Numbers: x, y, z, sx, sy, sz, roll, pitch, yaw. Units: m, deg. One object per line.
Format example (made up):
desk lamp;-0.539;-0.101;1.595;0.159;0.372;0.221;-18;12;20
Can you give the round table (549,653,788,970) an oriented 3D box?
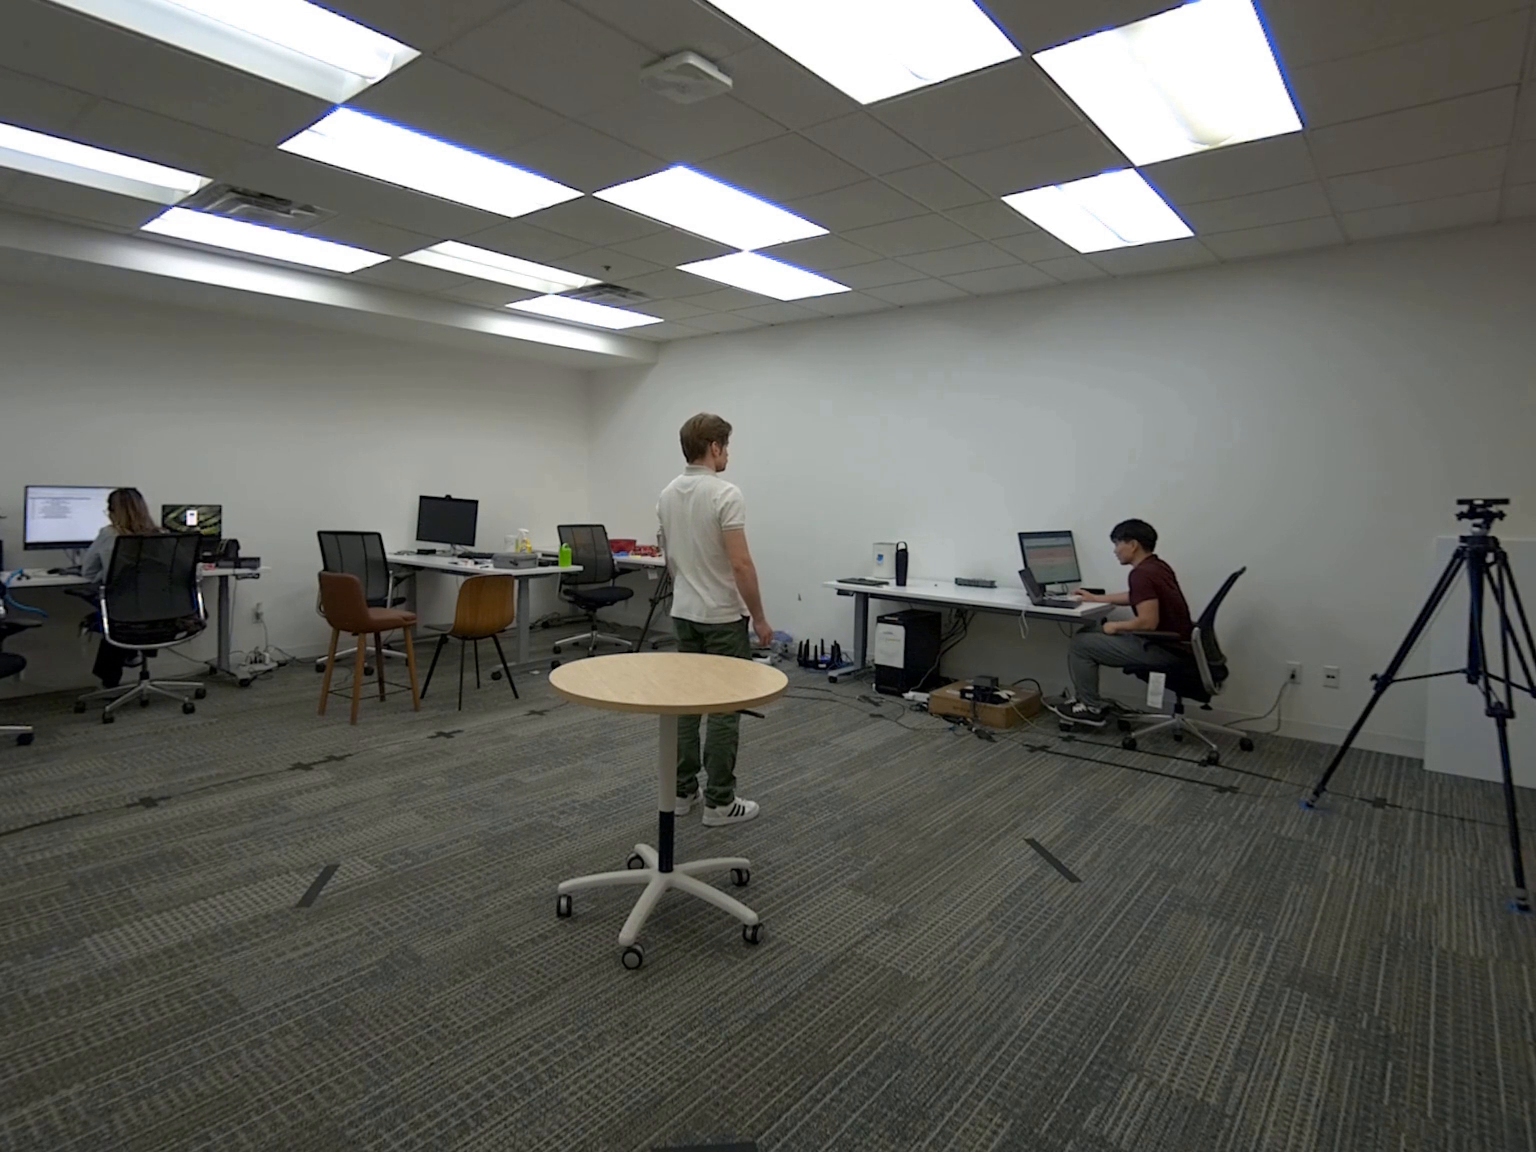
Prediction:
round table;-0.341;0.712;2.764;0.763;0.792;0.767;1;4;-2
